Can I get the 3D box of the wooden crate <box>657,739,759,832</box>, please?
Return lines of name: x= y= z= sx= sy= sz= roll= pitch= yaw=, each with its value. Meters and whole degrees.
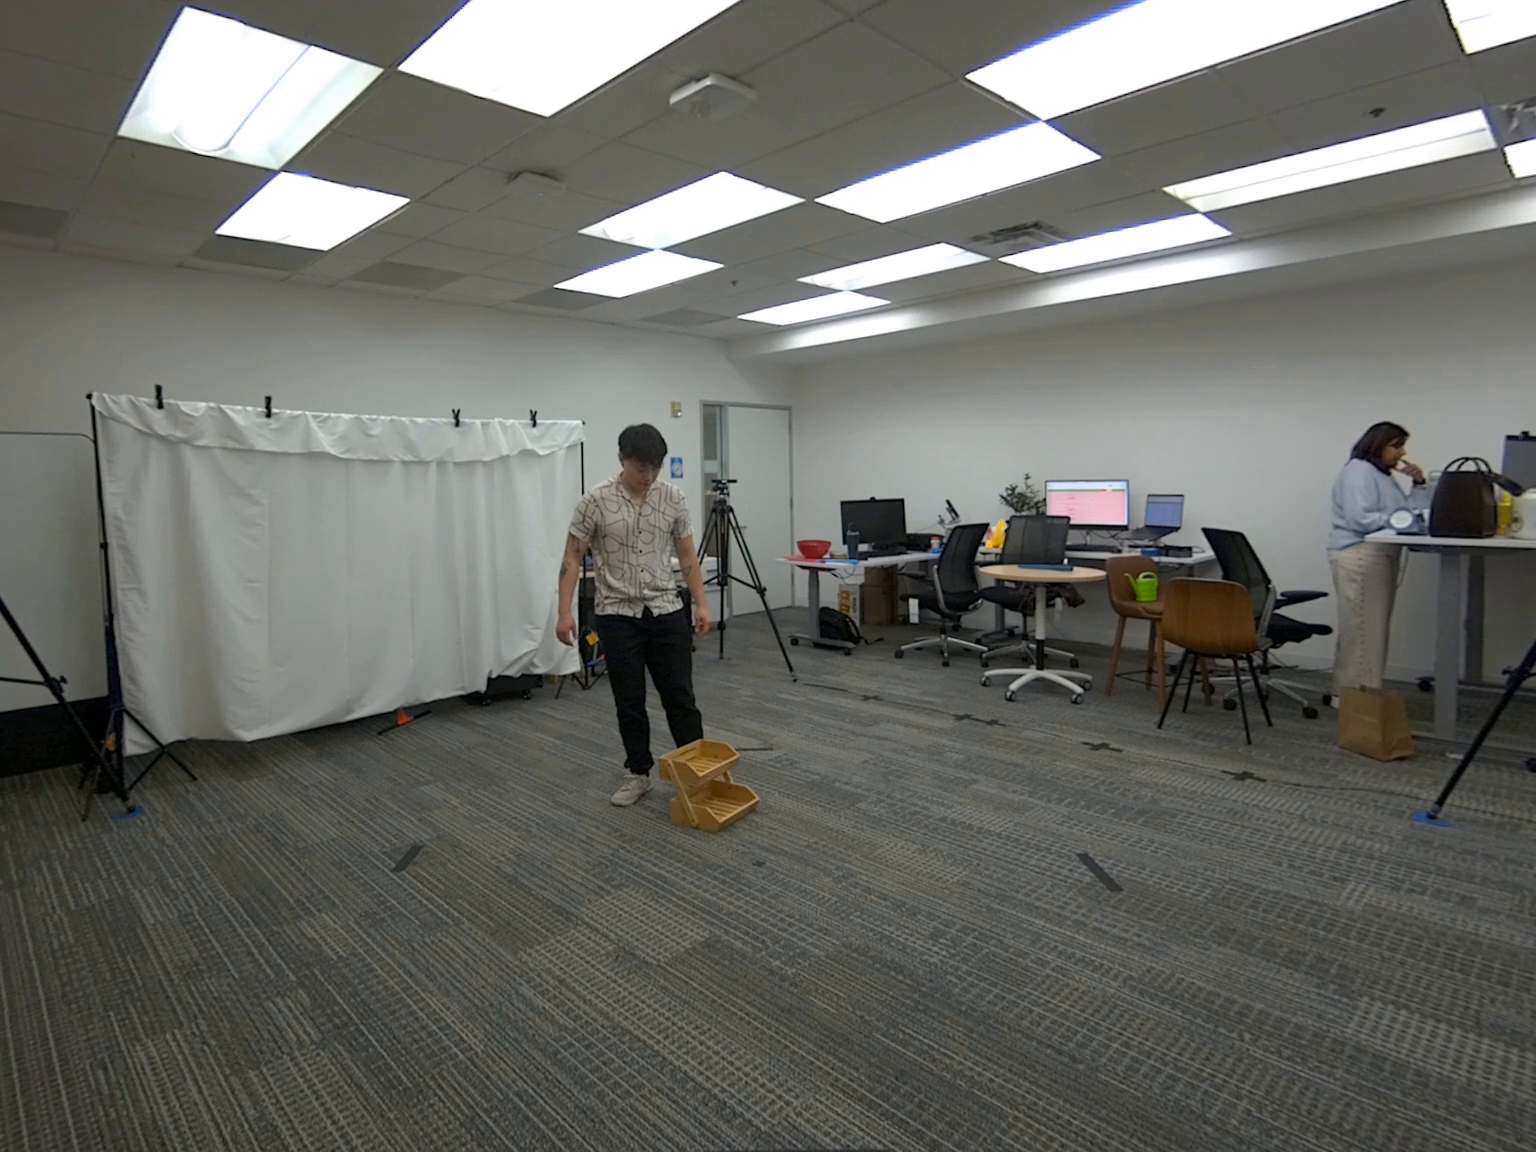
wooden crate: x=-0.241 y=0.864 z=3.575 sx=0.310 sy=0.272 sz=0.317 roll=1 pitch=5 yaw=33
